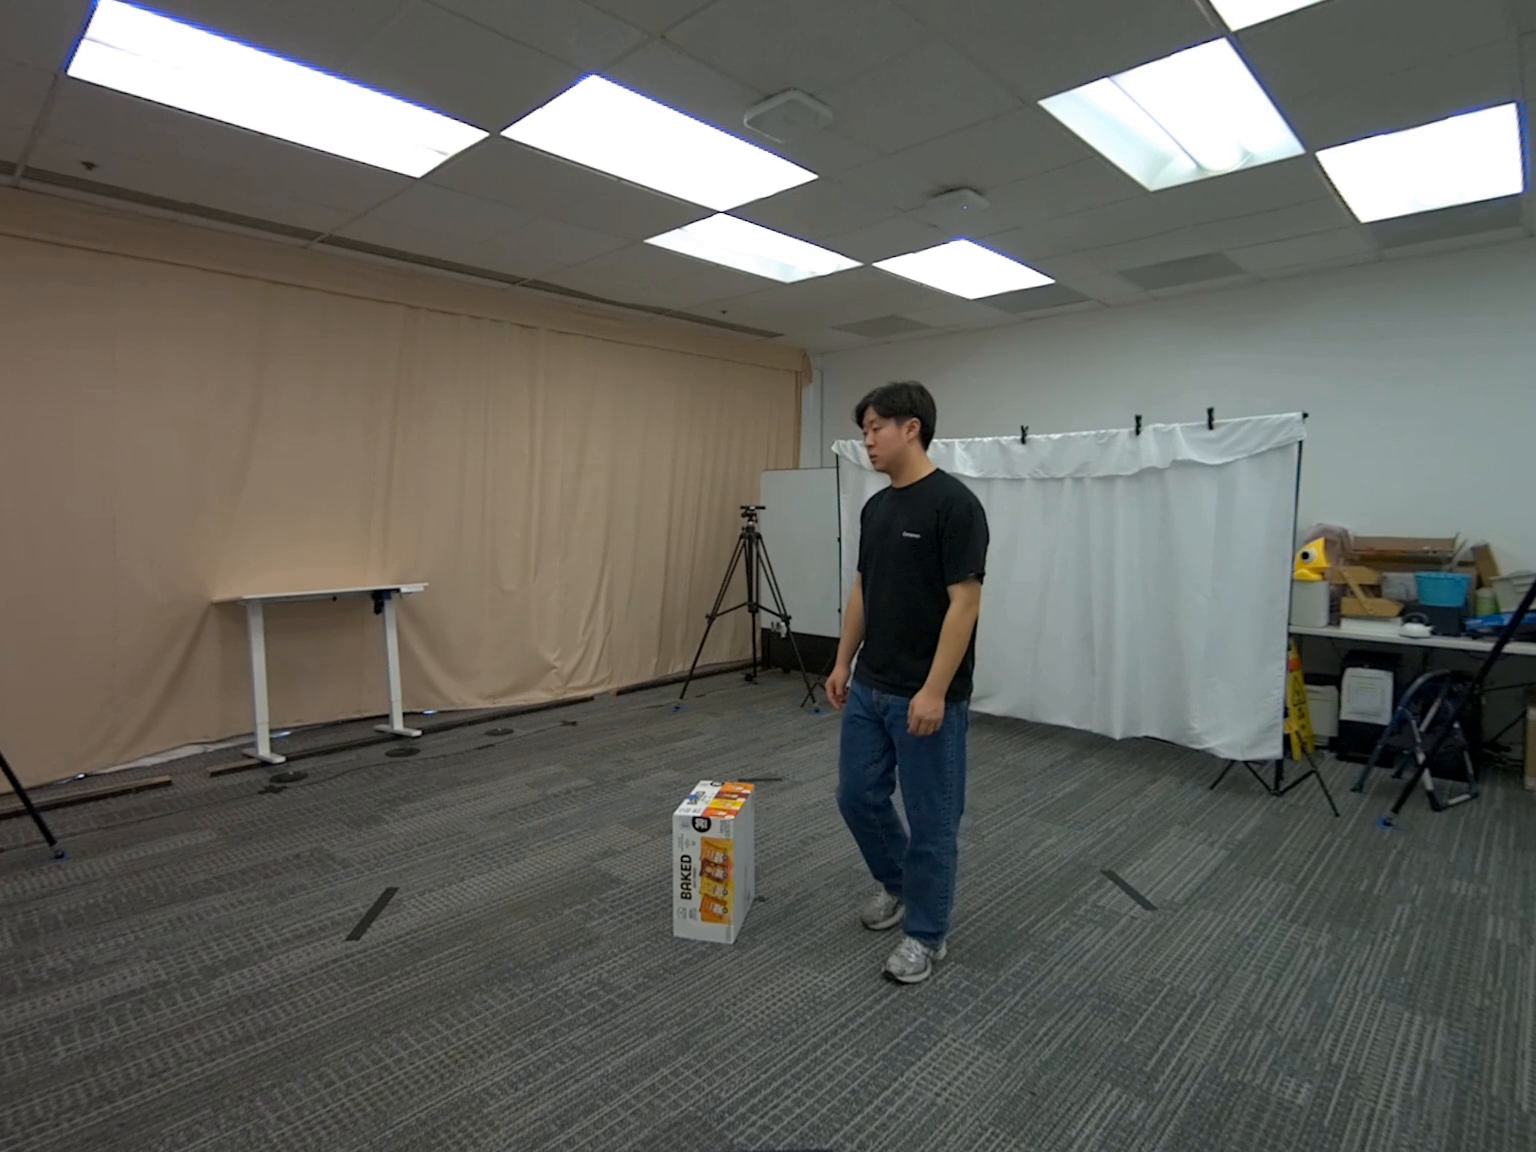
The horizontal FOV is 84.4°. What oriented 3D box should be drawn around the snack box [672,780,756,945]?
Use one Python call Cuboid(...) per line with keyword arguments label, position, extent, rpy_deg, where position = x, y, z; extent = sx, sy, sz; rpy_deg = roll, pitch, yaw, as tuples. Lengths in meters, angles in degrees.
Cuboid(label="snack box", position=(-0.173, 0.953, 2.850), extent=(0.209, 0.404, 0.336), rpy_deg=(0, 3, 12))
